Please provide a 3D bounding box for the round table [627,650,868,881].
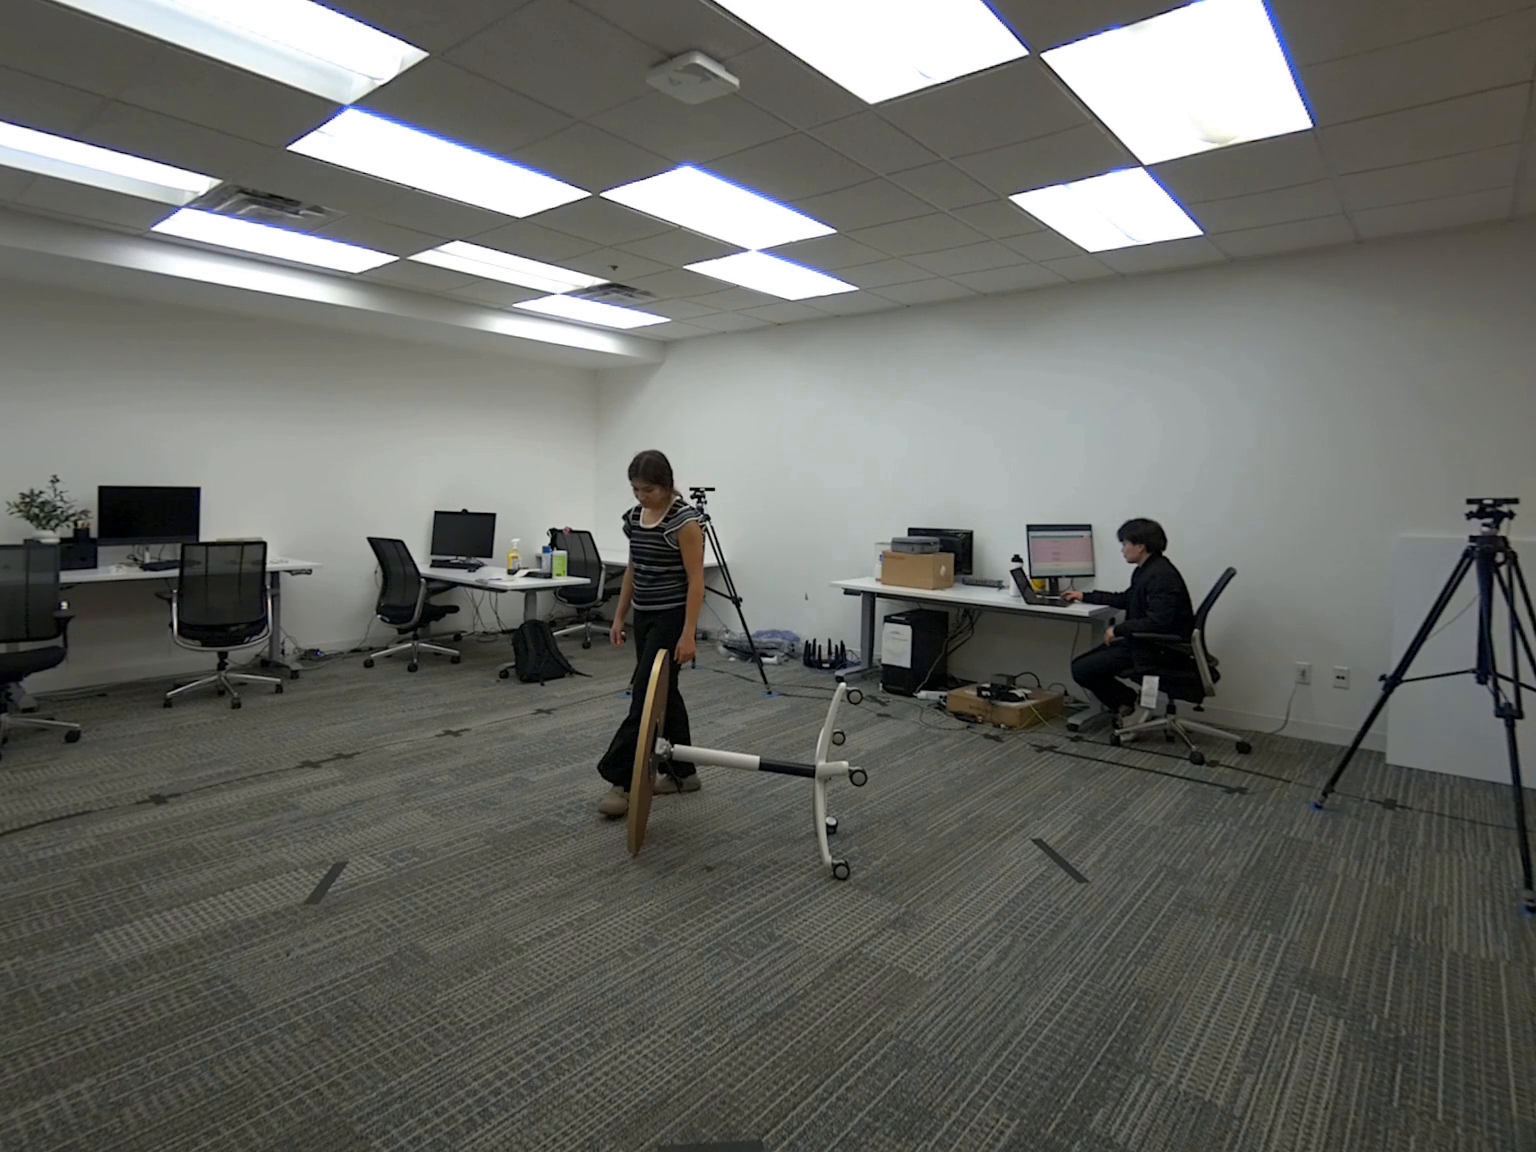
[{"bbox_3d":[-0.079,0.713,3.276,0.788,0.783,0.786,7,4,0],"label":"round table"}]
